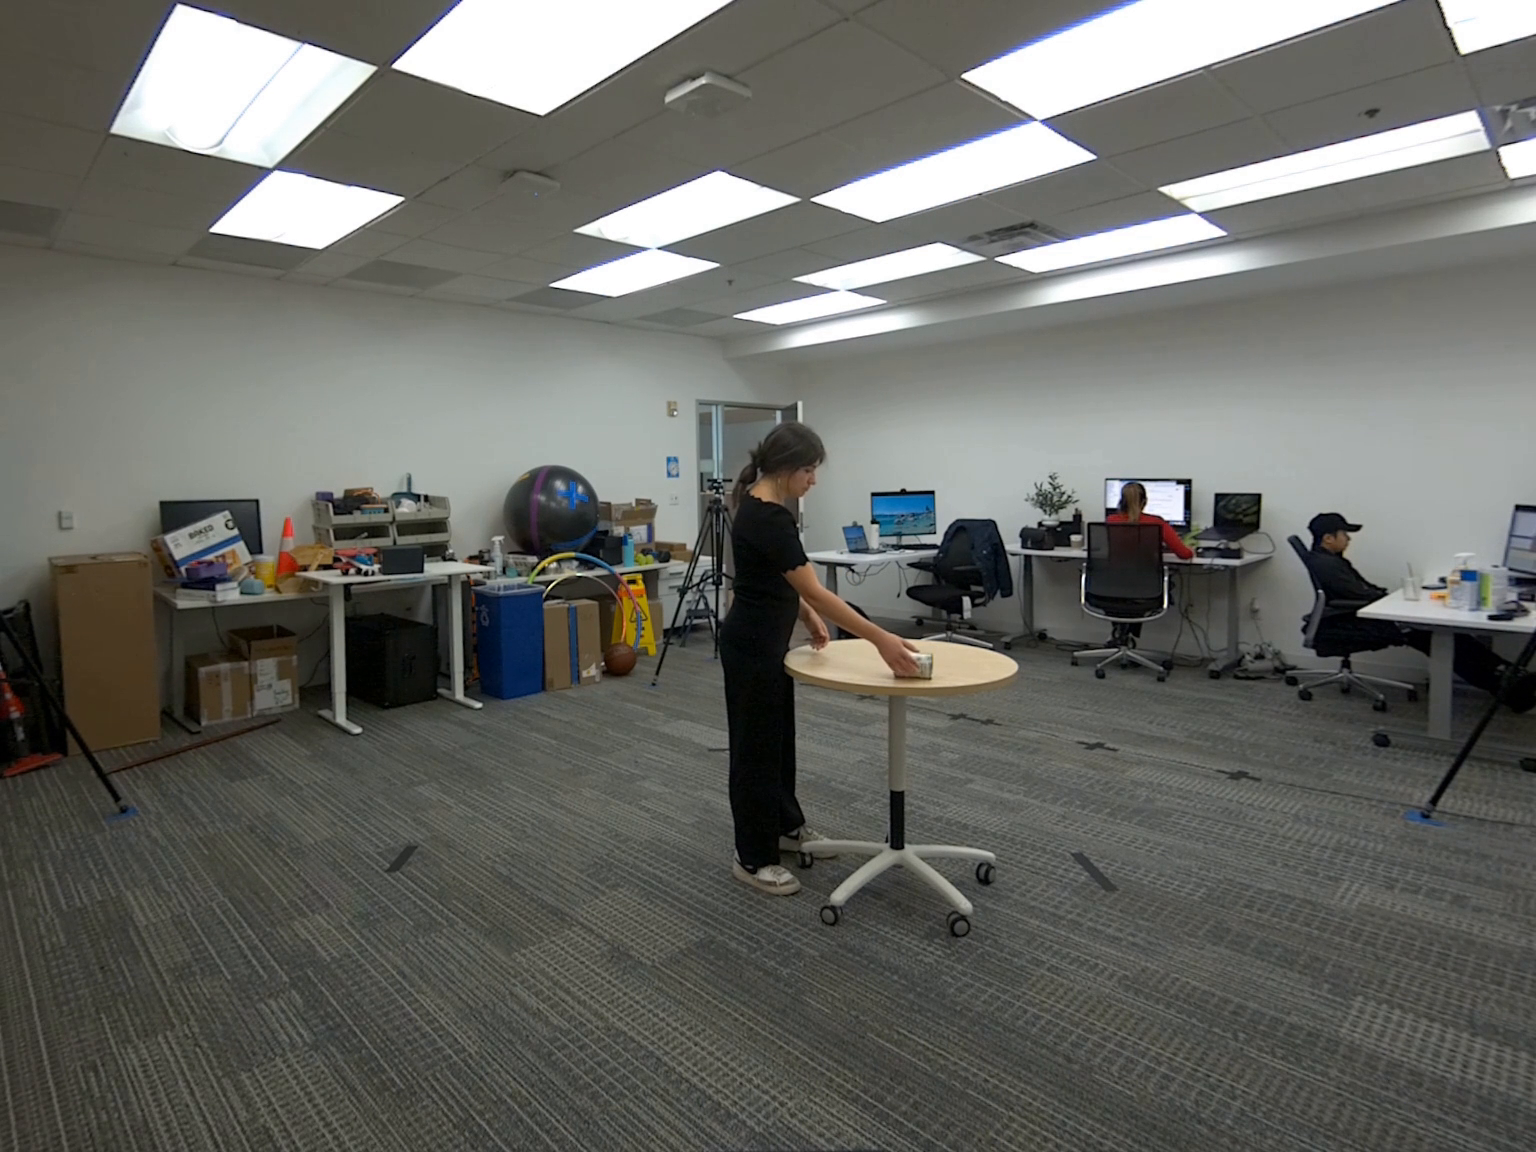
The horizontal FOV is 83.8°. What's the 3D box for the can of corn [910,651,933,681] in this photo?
[{"bbox_3d":[0.450,0.271,2.596,0.112,0.074,0.073,2,5,13],"label":"can of corn"}]
